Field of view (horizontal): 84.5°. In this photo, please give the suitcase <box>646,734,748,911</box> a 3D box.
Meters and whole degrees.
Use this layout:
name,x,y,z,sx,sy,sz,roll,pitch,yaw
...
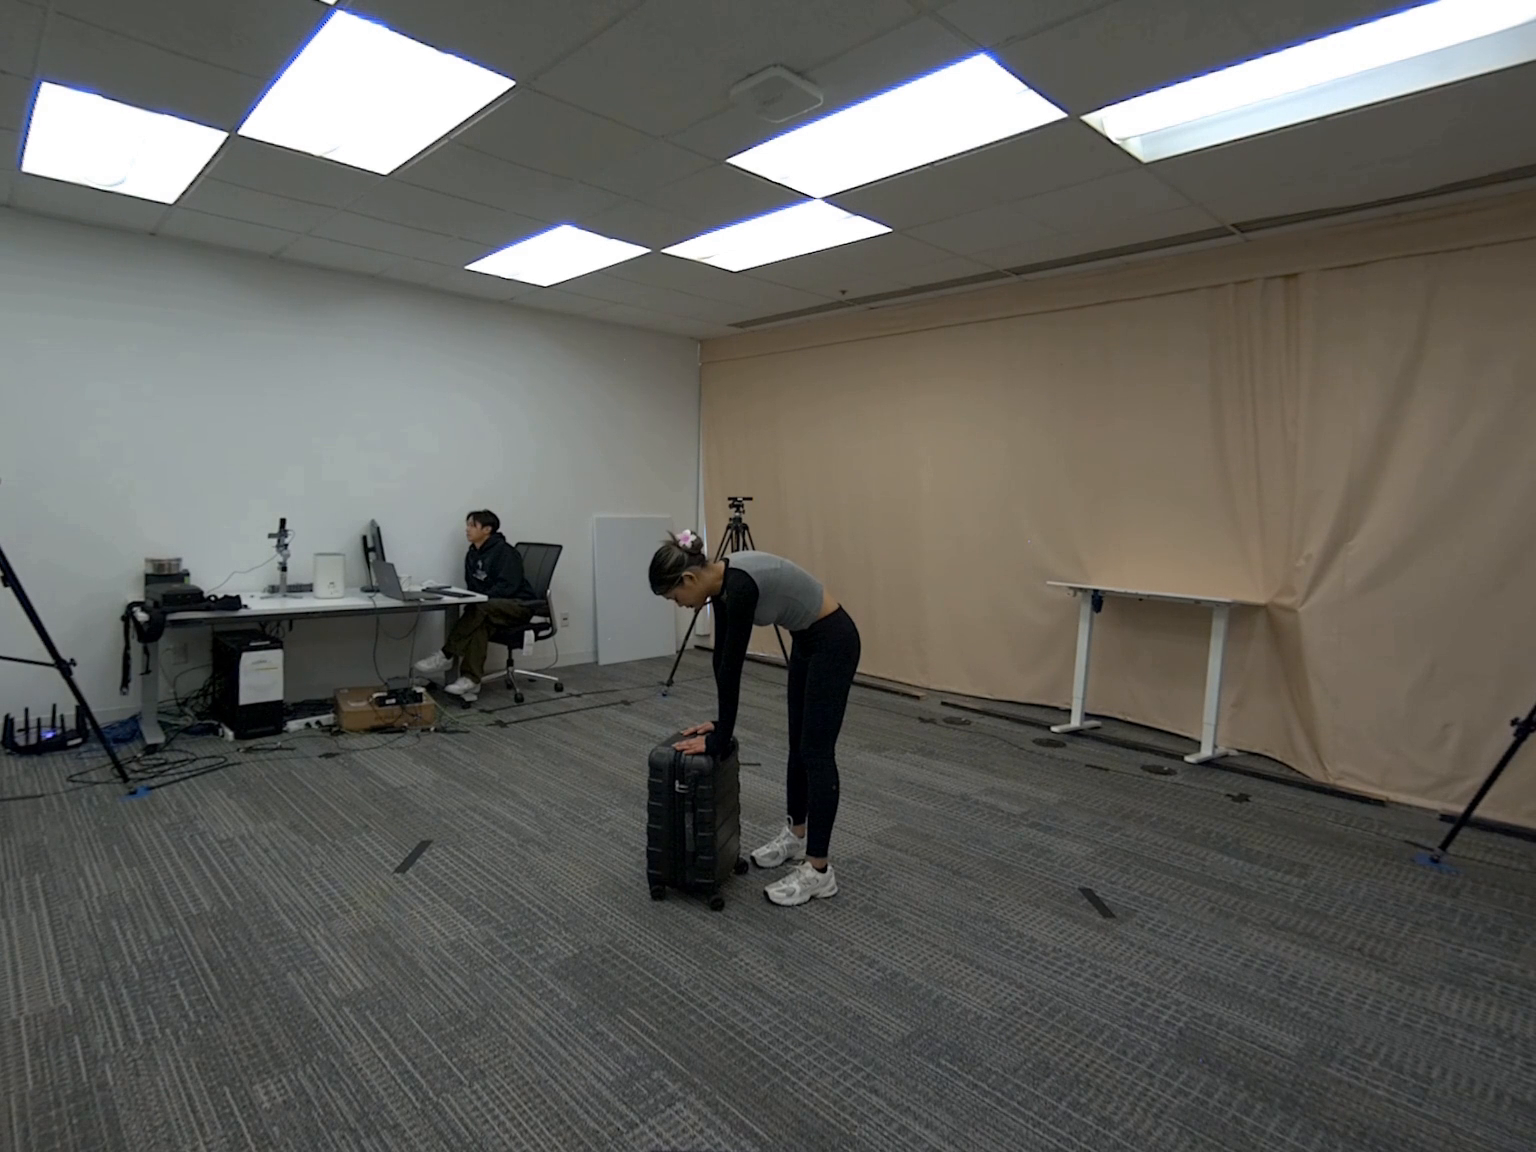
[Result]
name,x,y,z,sx,sy,sz,roll,pitch,yaw
suitcase,-0.261,0.840,3.005,0.252,0.548,0.371,1,3,18
